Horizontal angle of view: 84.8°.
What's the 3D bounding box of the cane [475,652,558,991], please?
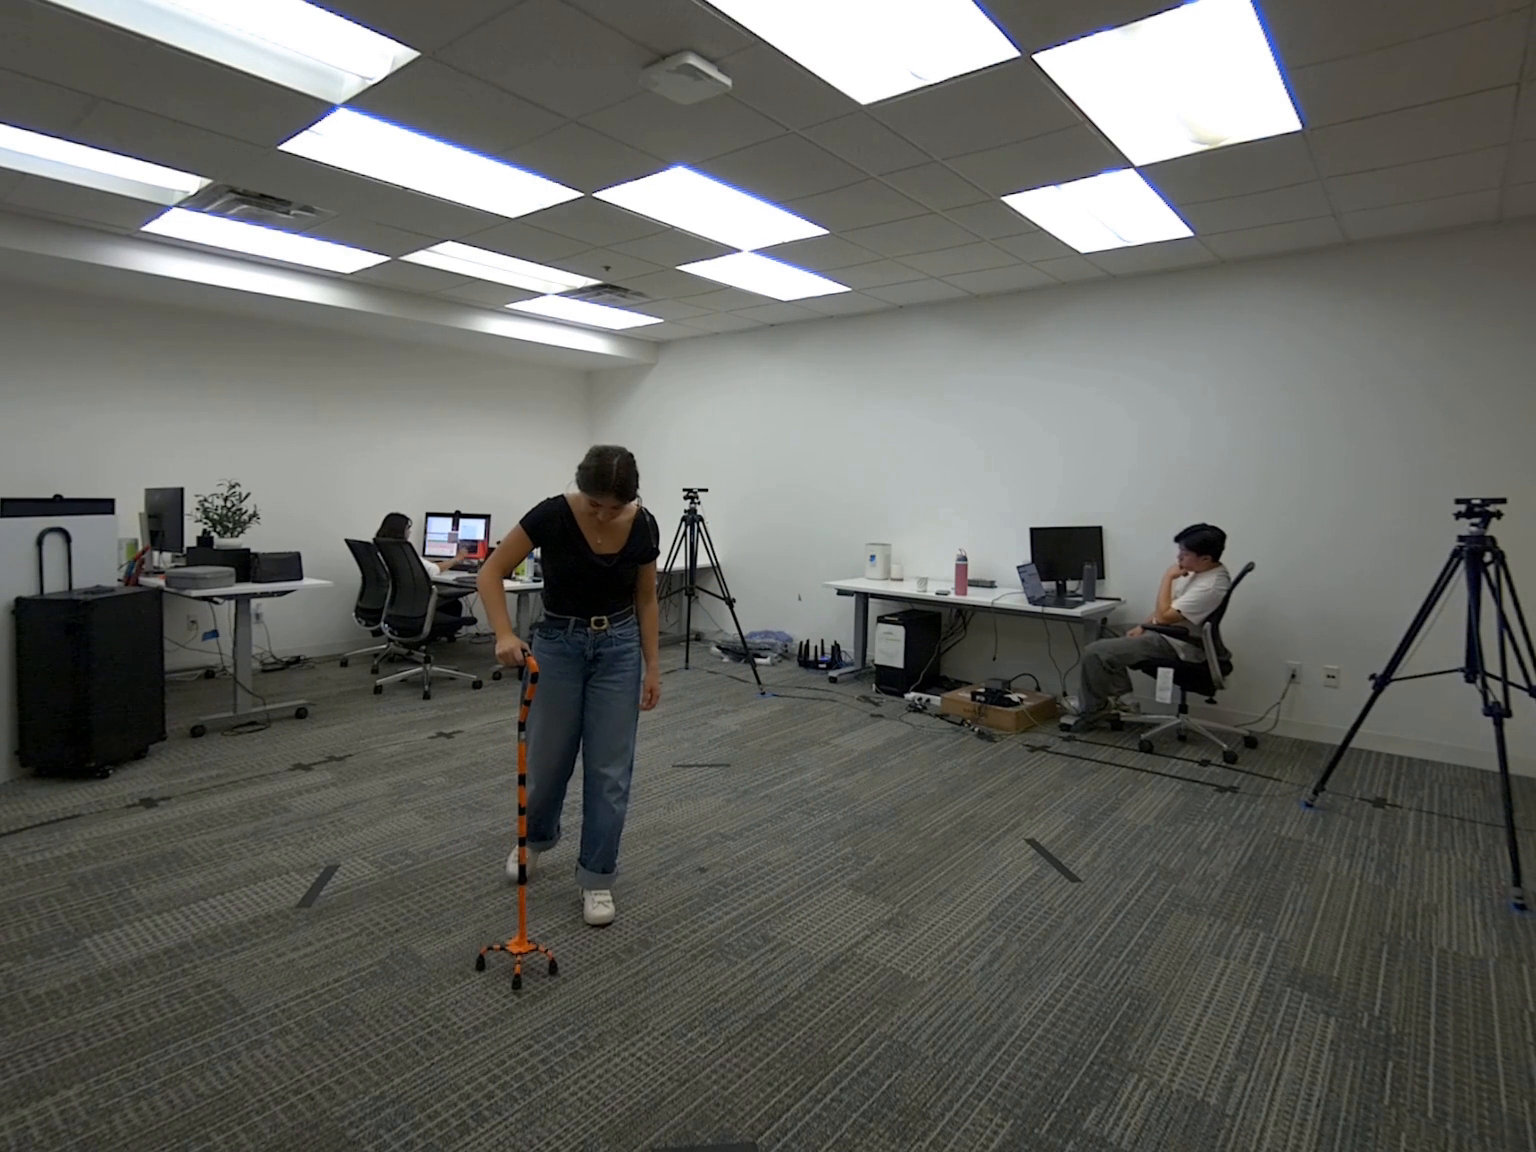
[{"bbox_3d":[-0.724,0.670,2.442,0.213,0.908,0.147,0,0,38],"label":"cane"}]
